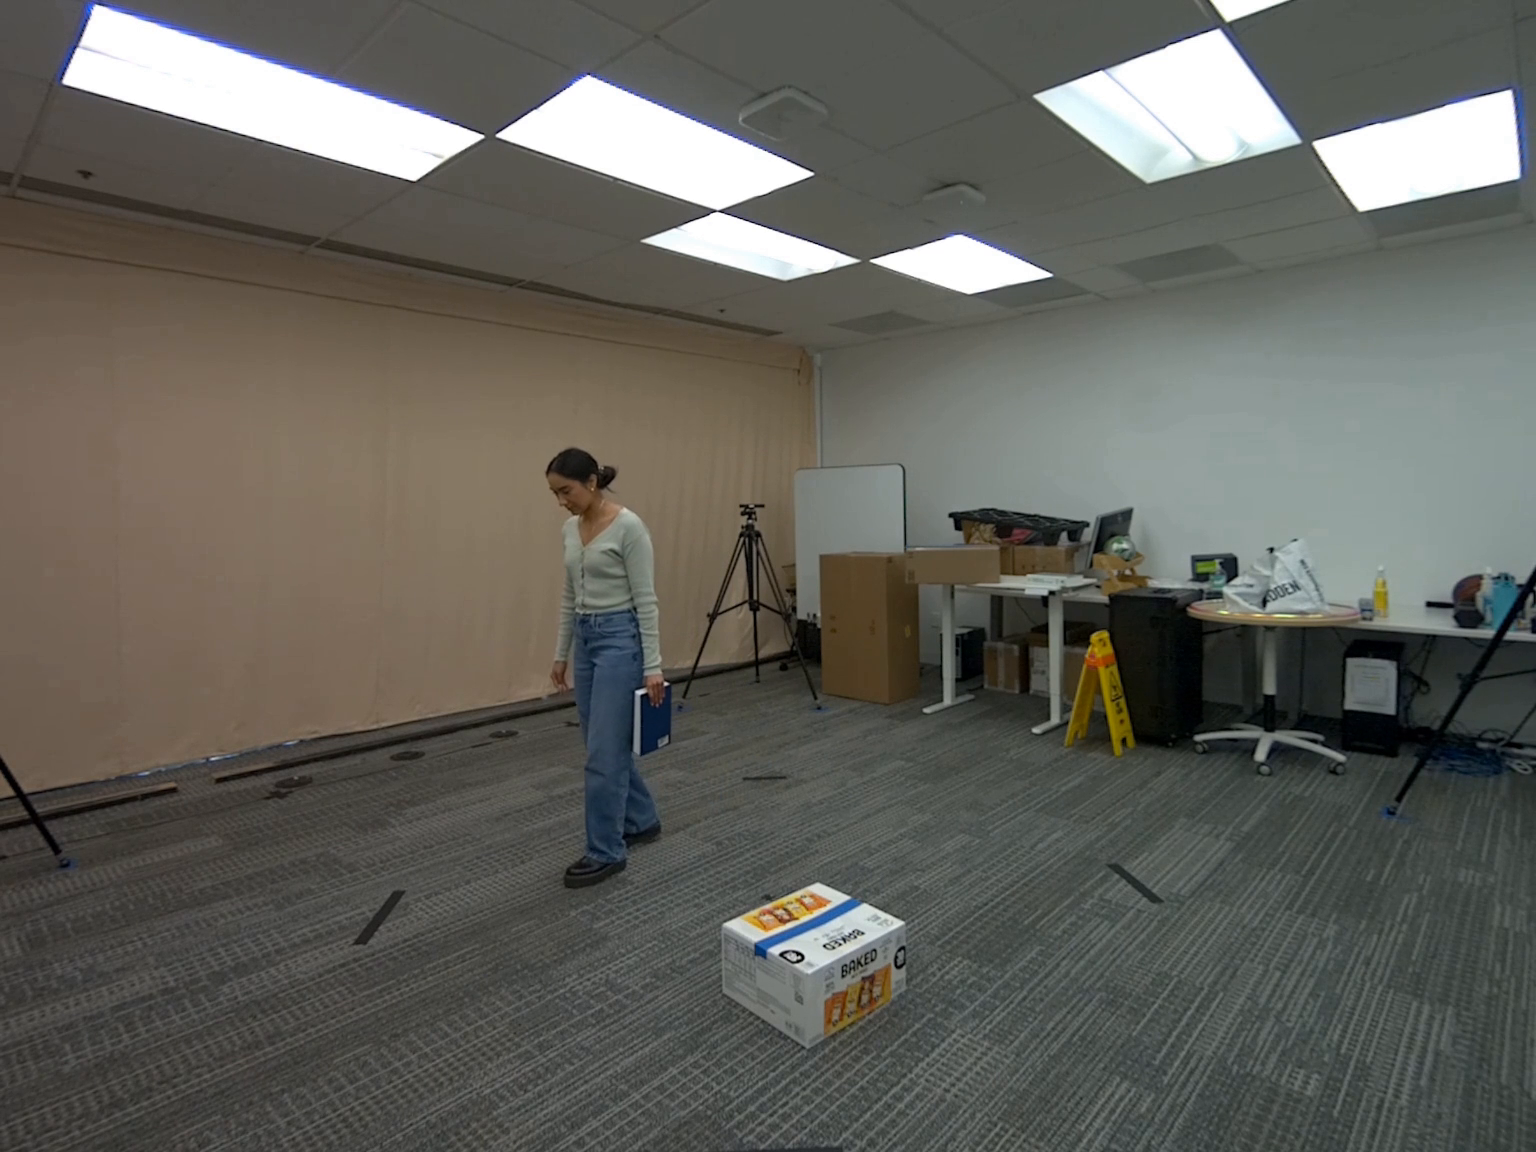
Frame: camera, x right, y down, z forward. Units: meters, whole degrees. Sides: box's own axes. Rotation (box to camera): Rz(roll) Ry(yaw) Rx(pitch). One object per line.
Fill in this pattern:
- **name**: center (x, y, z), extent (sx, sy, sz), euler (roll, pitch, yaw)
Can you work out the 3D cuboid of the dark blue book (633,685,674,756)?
- **dark blue book**: center (-0.434, 0.537, 3.142), extent (0.047, 0.243, 0.159), euler (13, 14, 40)
